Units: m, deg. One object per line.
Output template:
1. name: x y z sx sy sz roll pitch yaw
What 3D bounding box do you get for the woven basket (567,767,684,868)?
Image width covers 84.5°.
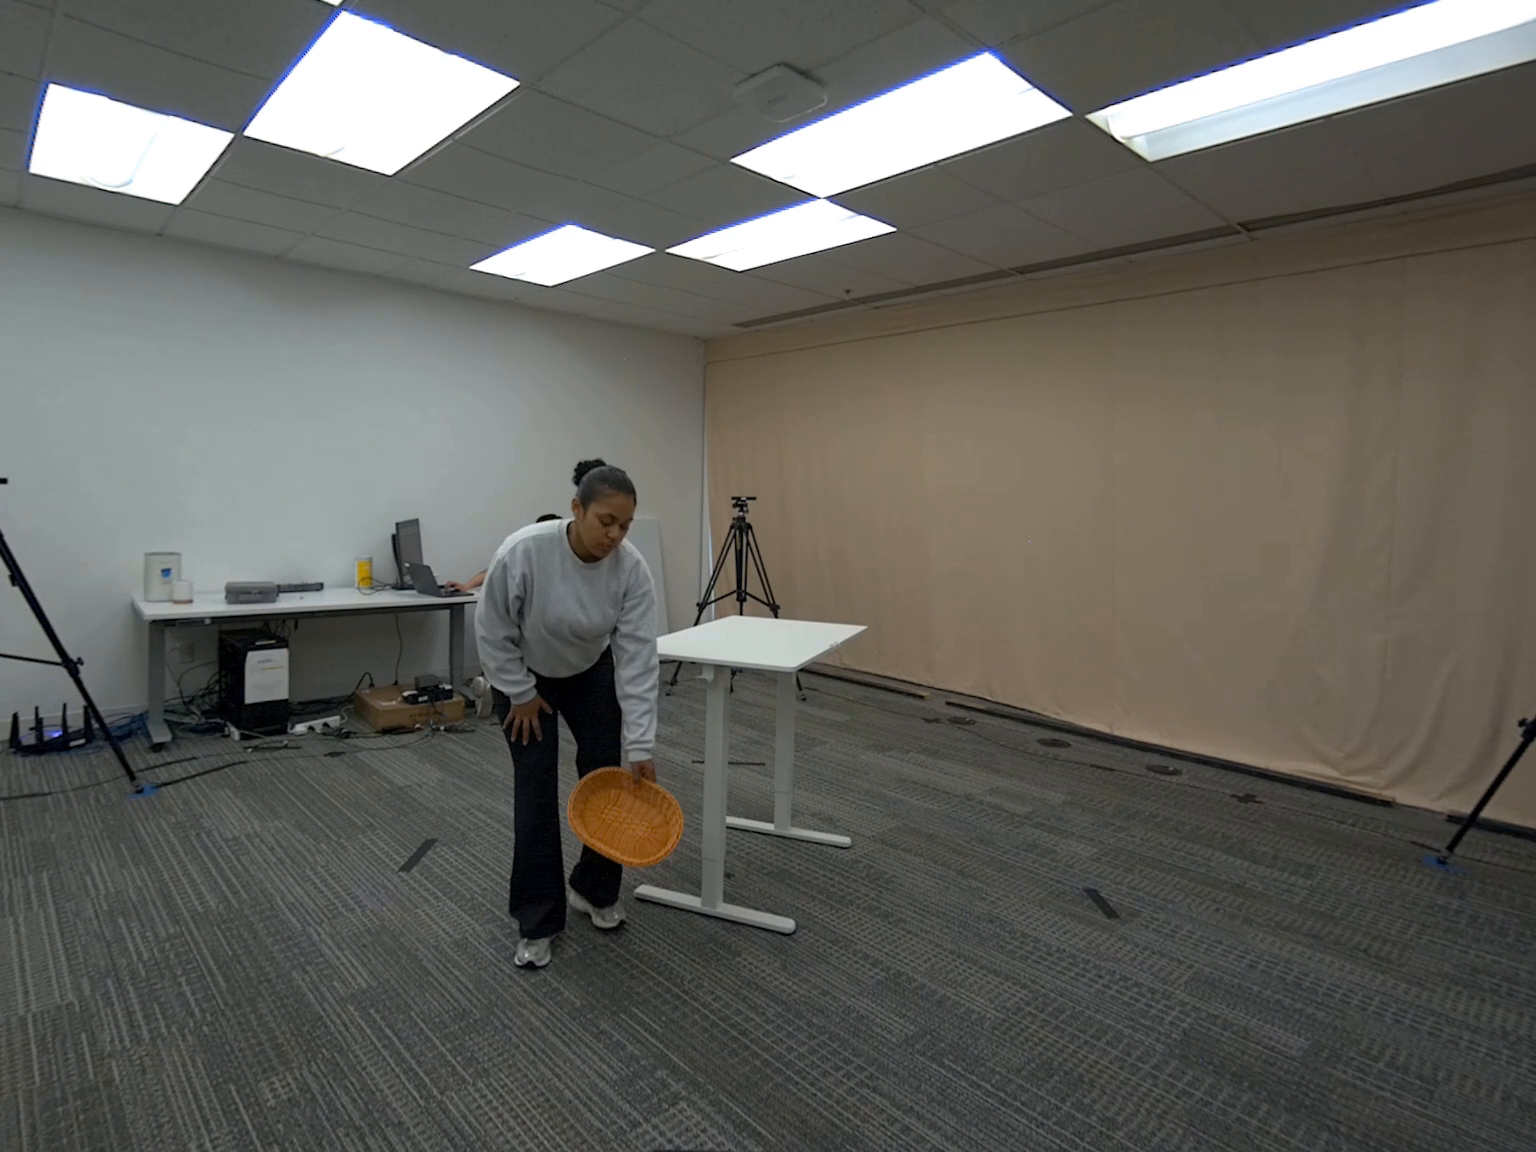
1. woven basket: -0.418 0.700 2.435 0.251 0.072 0.360 -34 59 -29
